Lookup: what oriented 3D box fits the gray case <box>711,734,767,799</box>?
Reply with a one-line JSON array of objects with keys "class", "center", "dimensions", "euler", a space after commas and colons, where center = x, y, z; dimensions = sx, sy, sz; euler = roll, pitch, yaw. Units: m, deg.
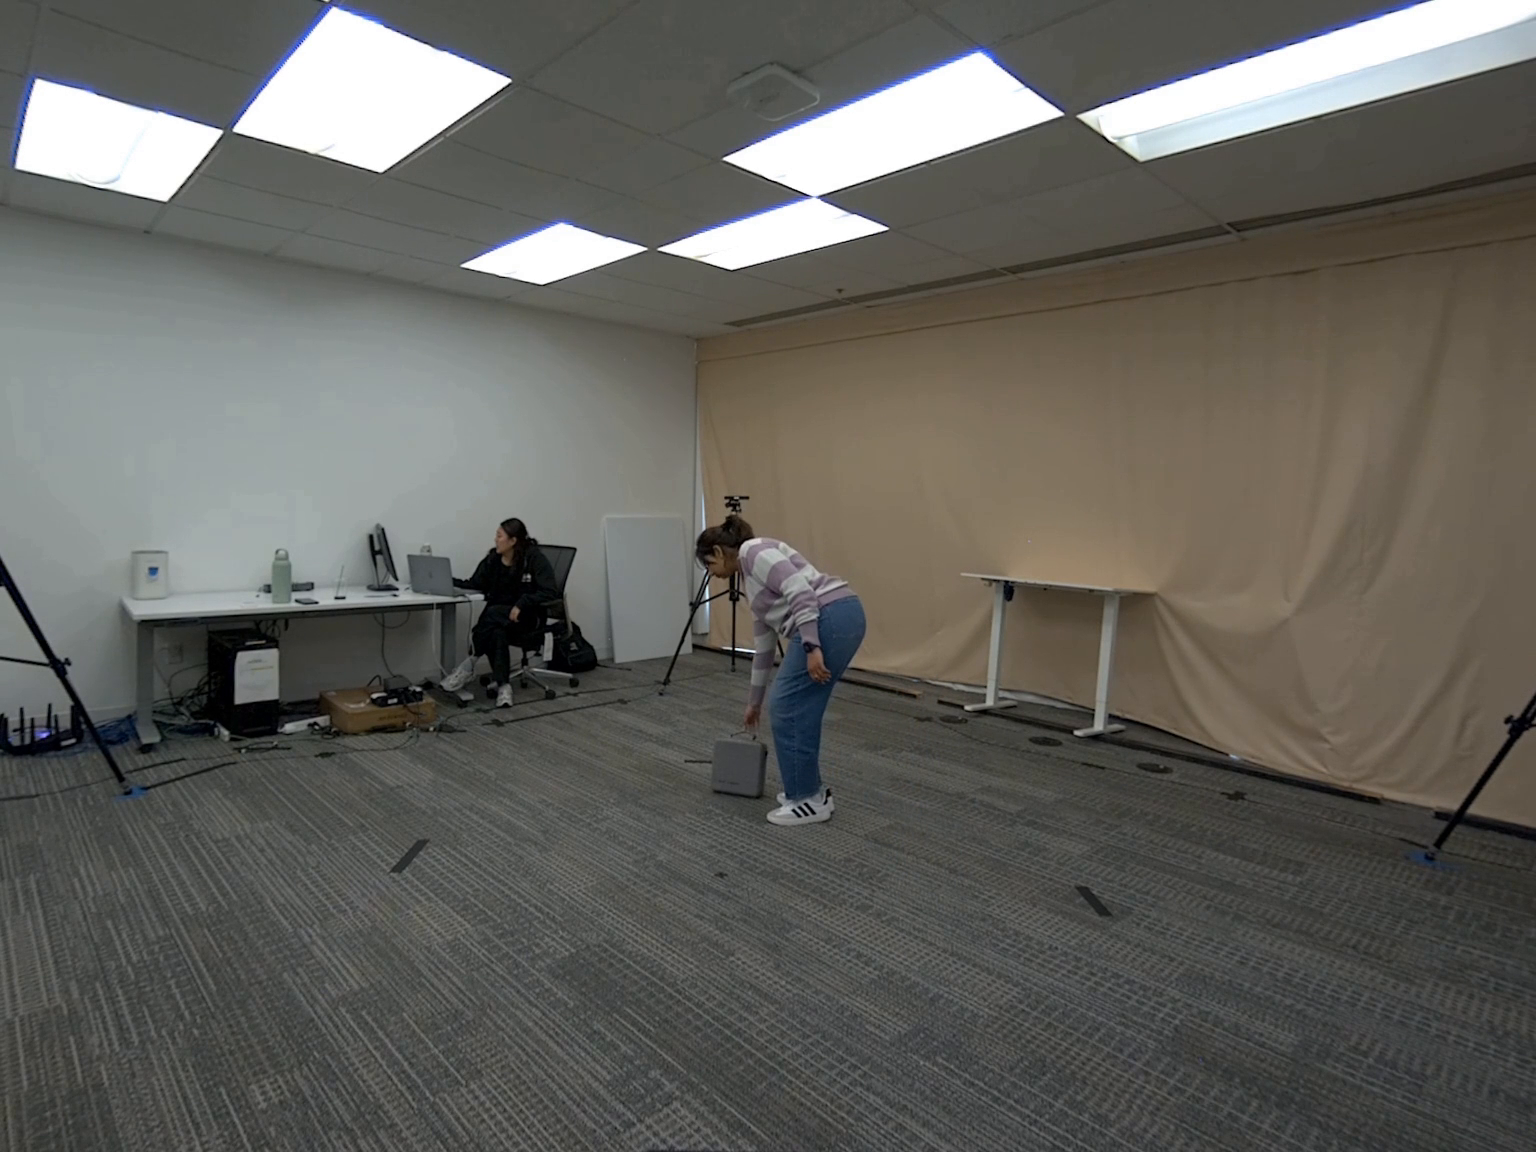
[{"class": "gray case", "center": [-0.151, 0.891, 3.991], "dimensions": [0.261, 0.261, 0.102], "euler": [4, -4, 22]}]
